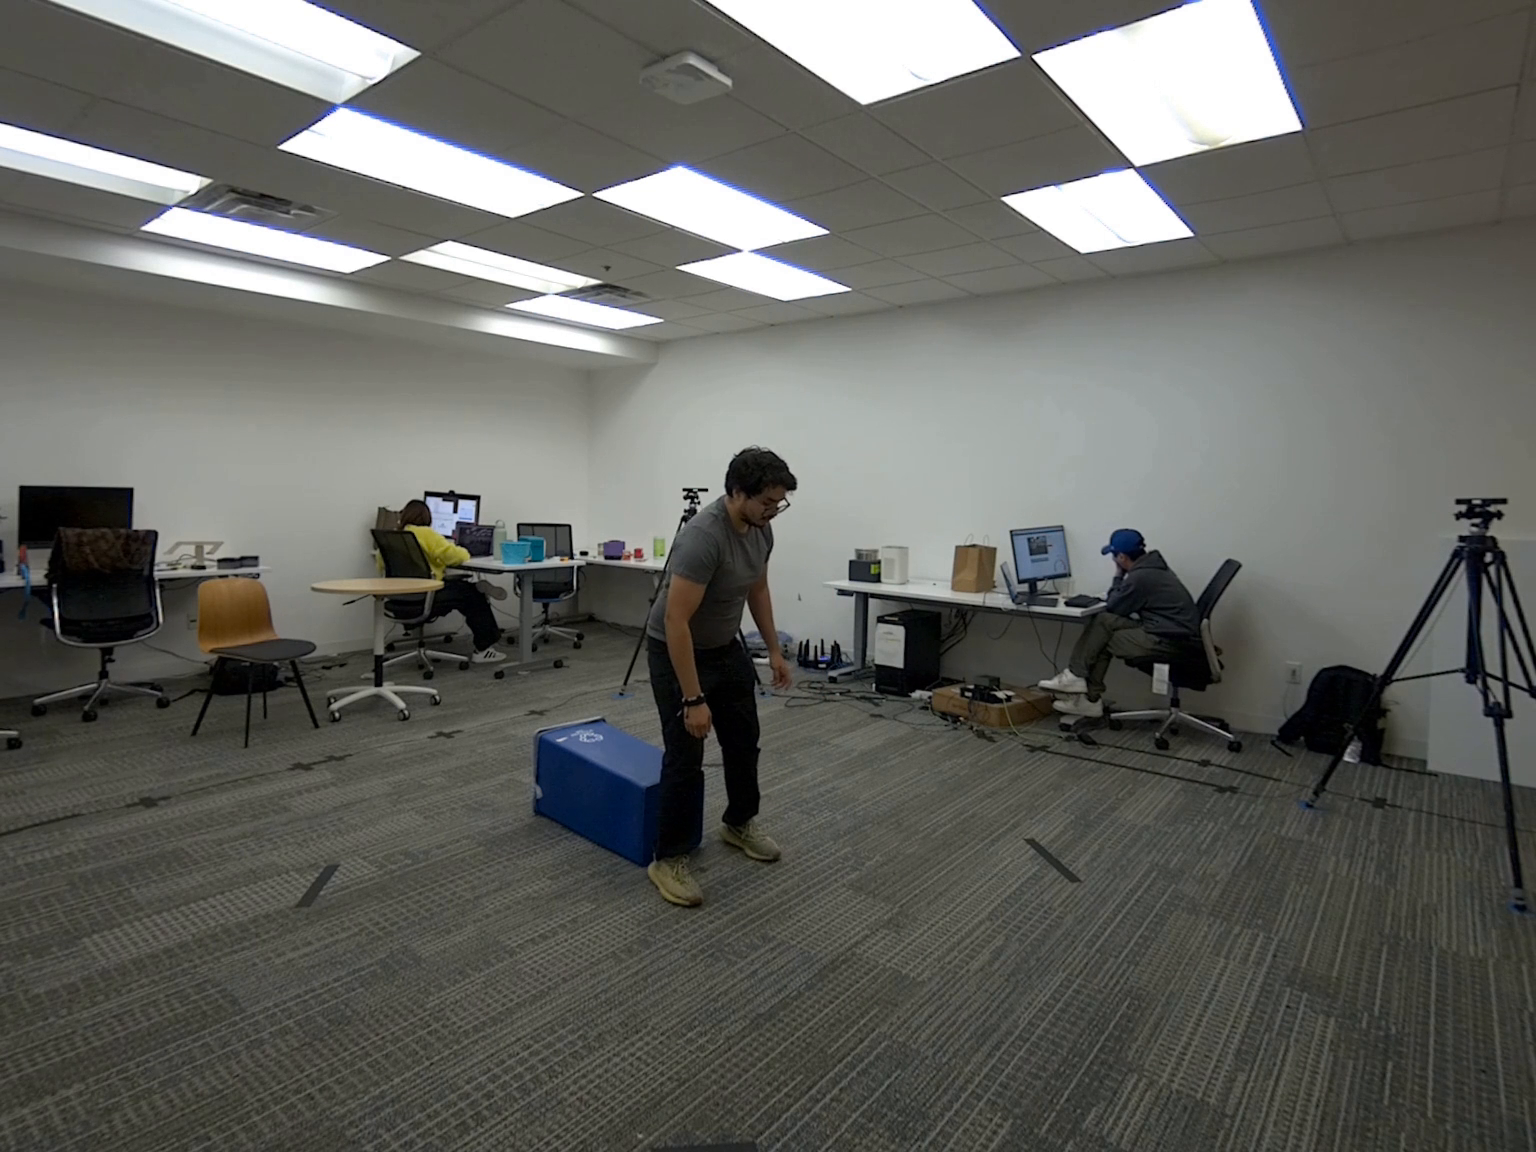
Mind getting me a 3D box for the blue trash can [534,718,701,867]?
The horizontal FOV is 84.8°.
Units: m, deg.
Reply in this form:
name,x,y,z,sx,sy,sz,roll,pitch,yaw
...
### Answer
name,x,y,z,sx,sy,sz,roll,pitch,yaw
blue trash can,-0.623,0.852,3.454,0.739,0.372,0.367,8,8,44
